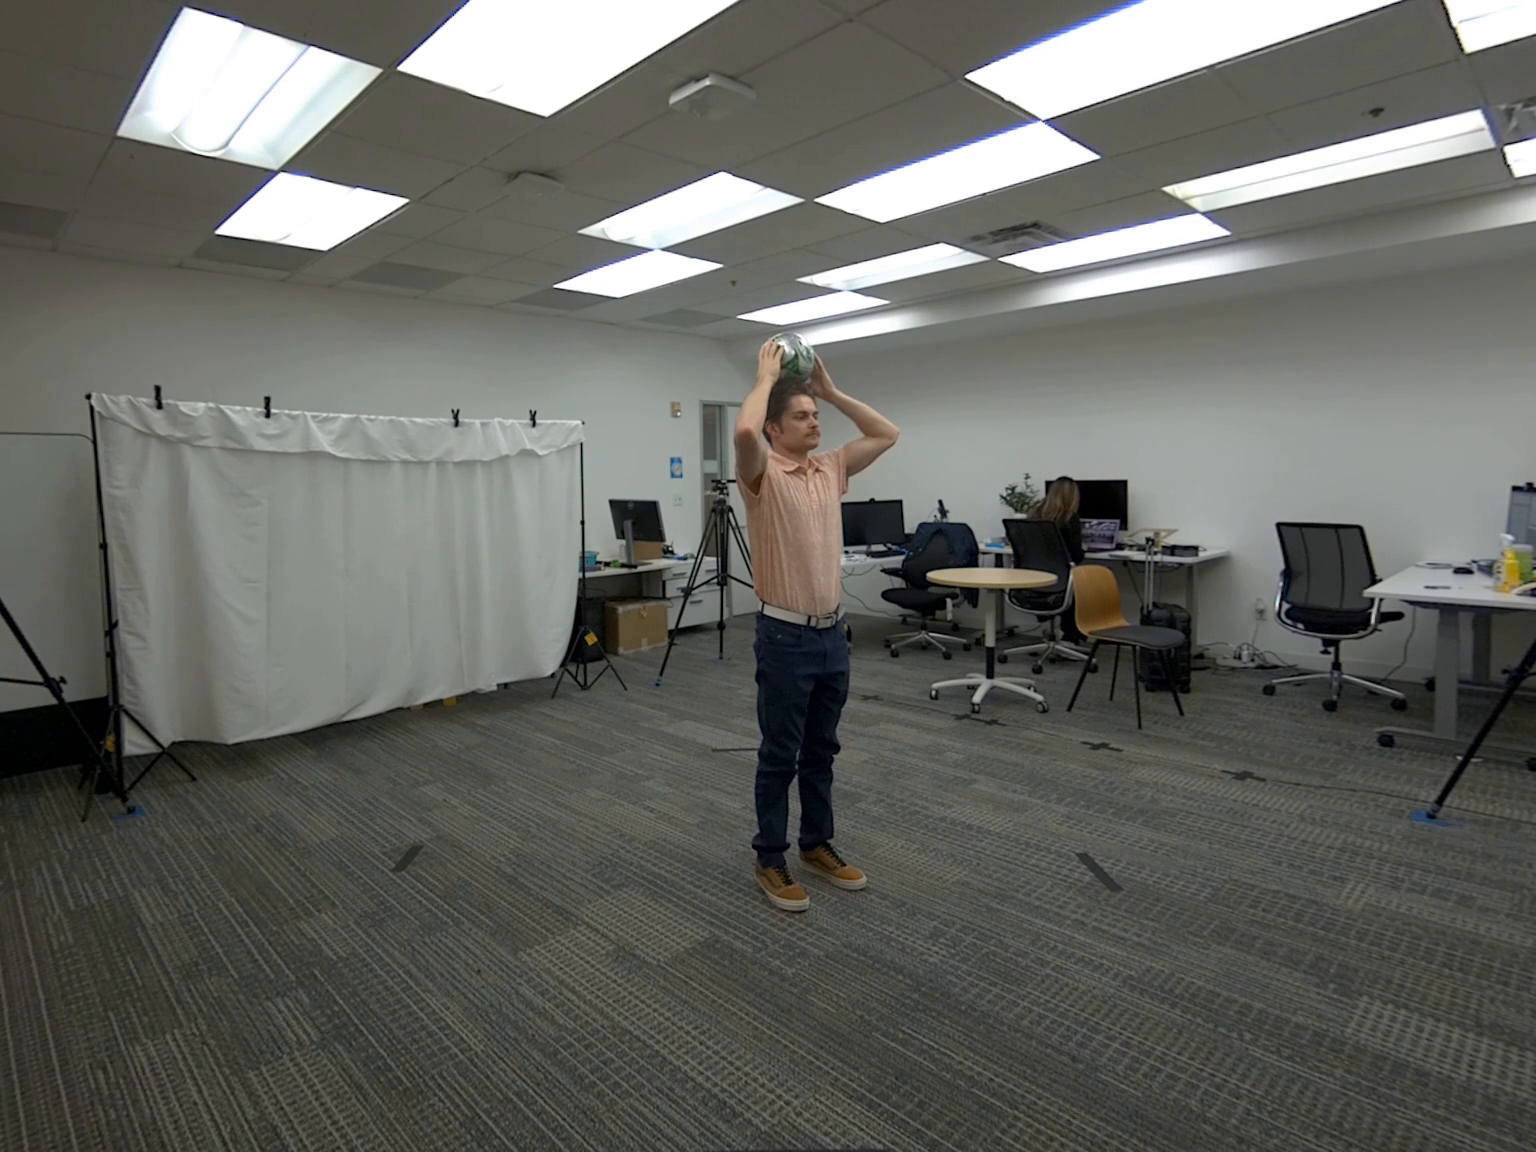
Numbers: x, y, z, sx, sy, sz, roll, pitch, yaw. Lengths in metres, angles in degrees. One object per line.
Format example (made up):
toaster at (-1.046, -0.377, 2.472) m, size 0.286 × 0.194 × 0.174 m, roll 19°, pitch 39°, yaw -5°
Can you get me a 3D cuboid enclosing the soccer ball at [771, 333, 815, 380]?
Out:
soccer ball at (0.068, -0.725, 2.892) m, size 0.187 × 0.187 × 0.188 m, roll -1°, pitch 5°, yaw -2°
